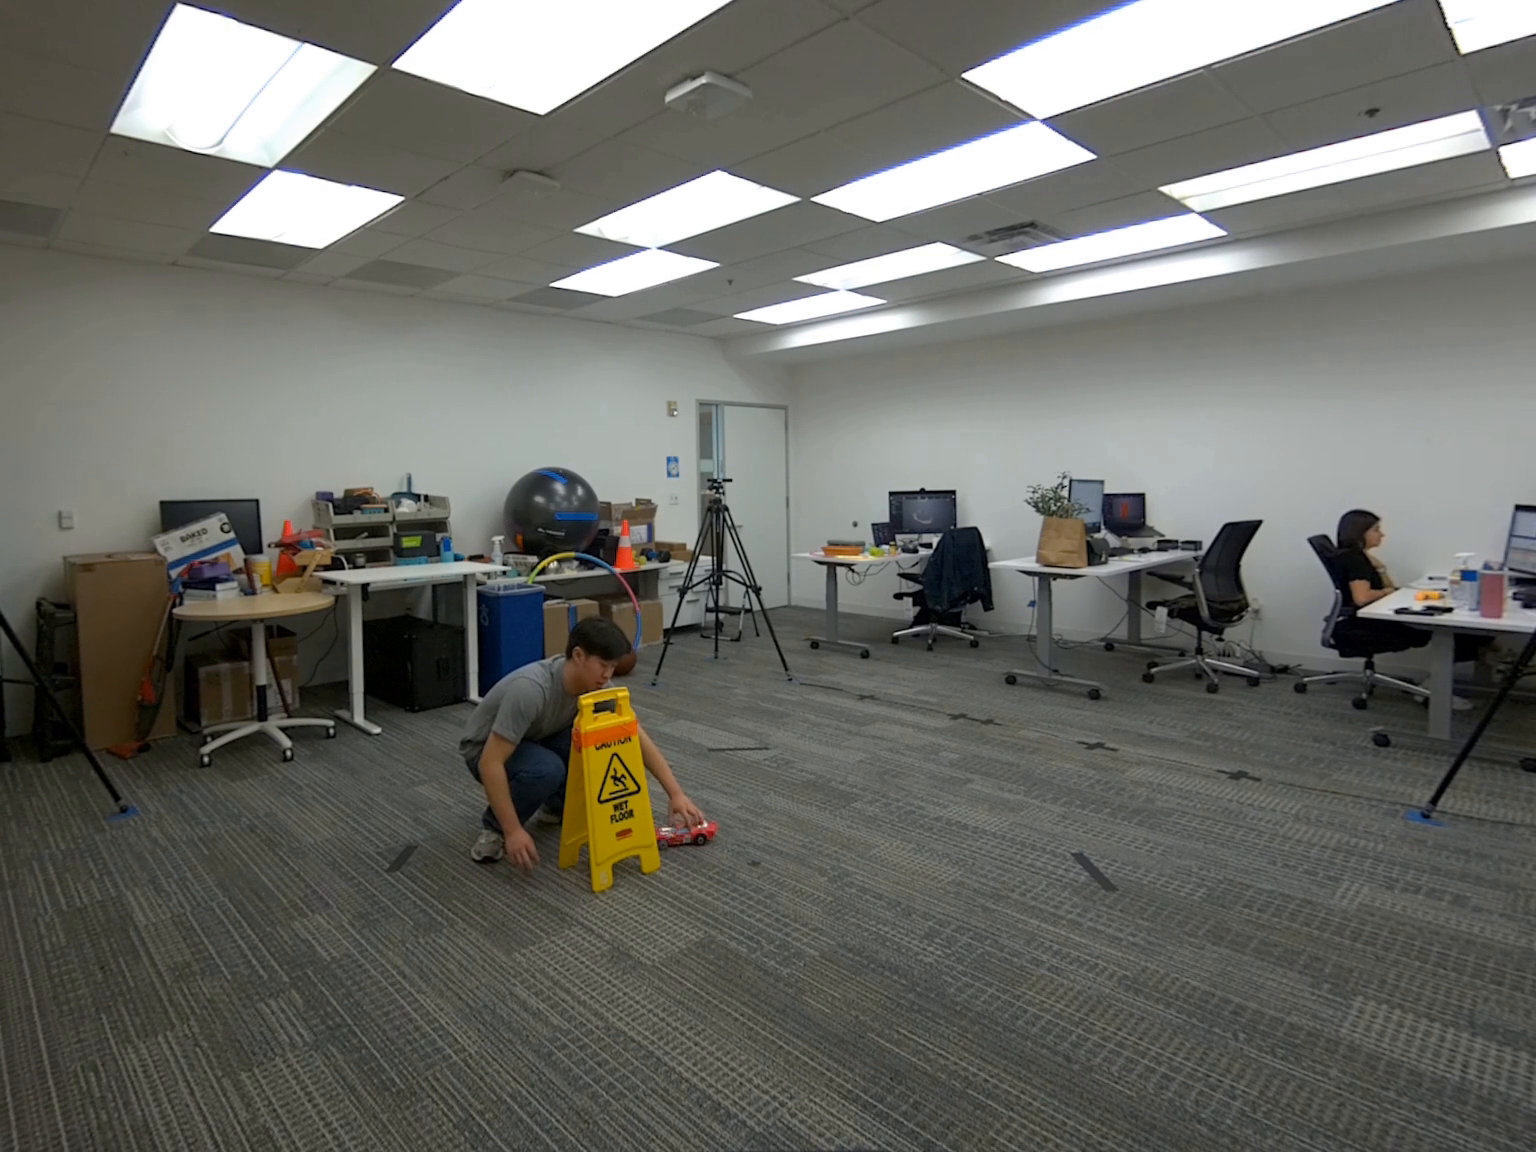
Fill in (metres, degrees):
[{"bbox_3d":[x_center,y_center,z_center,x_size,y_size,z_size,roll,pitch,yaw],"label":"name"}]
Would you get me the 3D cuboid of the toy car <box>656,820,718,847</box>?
[{"bbox_3d":[-0.320,0.990,3.300,0.253,0.083,0.131,-12,6,-6],"label":"toy car"}]
